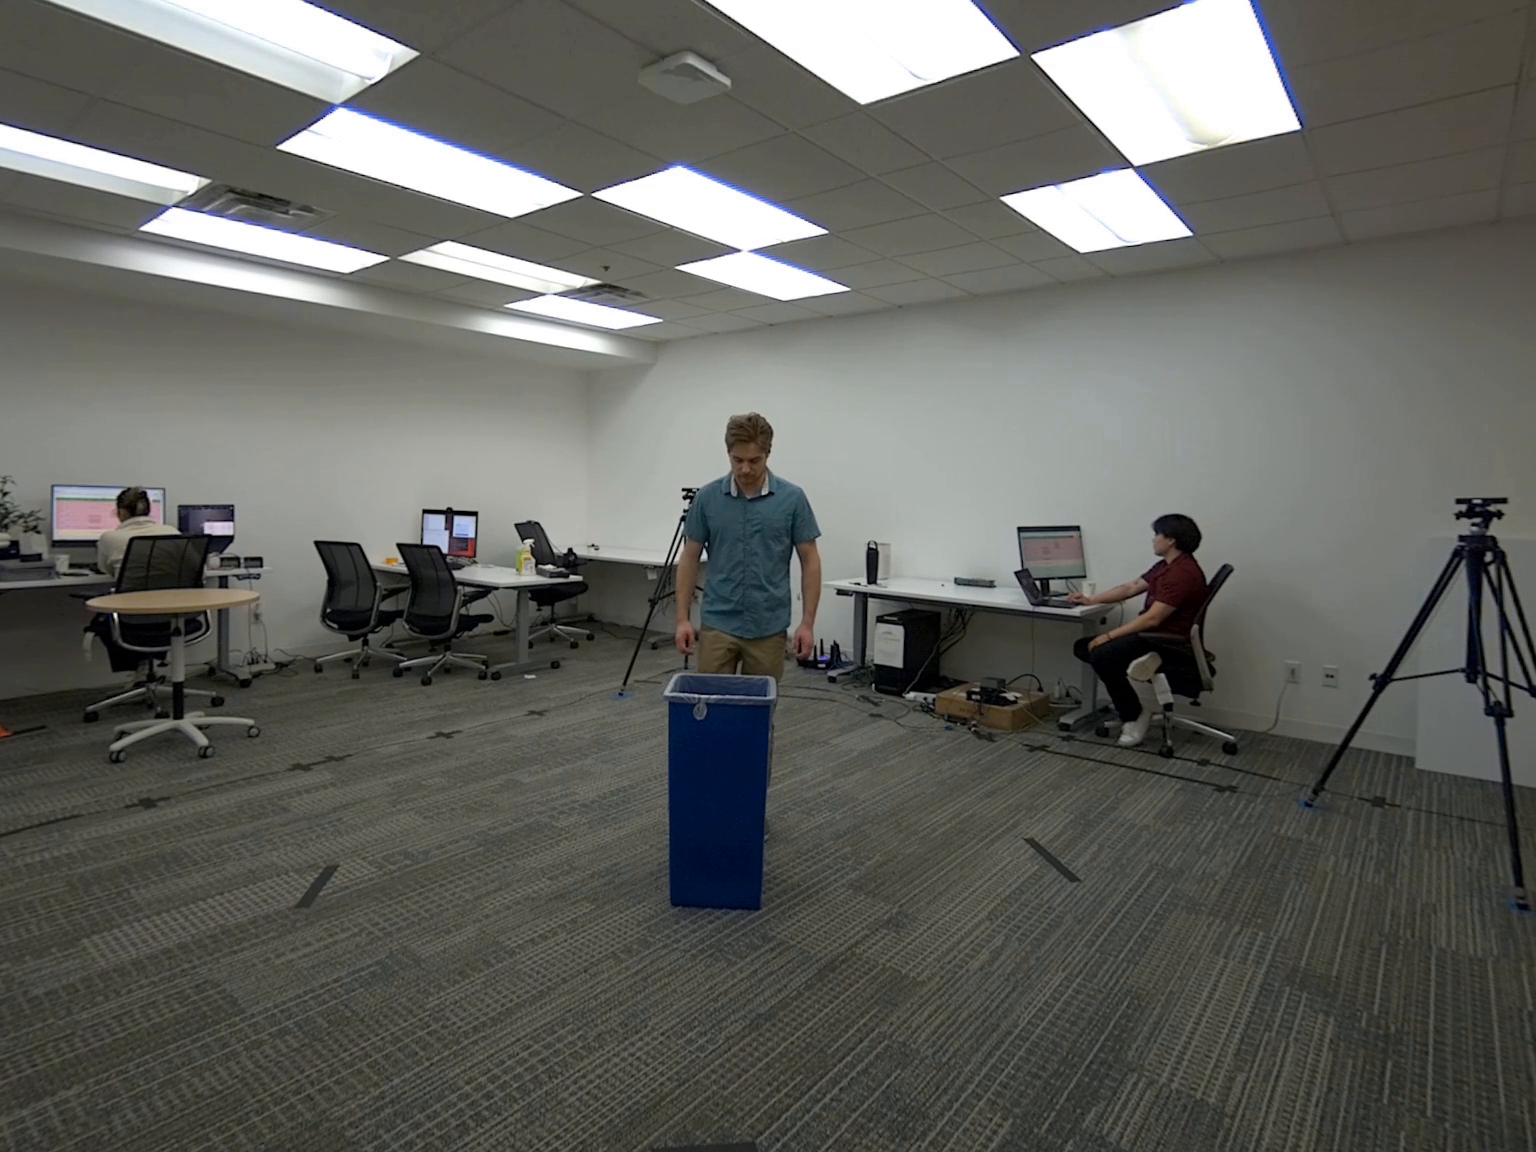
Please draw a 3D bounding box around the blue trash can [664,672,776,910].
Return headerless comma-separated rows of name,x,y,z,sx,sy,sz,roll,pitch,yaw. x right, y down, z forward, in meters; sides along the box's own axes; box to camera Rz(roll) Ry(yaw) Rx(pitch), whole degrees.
blue trash can,-0.178,0.727,2.961,0.379,0.712,0.374,1,3,1
